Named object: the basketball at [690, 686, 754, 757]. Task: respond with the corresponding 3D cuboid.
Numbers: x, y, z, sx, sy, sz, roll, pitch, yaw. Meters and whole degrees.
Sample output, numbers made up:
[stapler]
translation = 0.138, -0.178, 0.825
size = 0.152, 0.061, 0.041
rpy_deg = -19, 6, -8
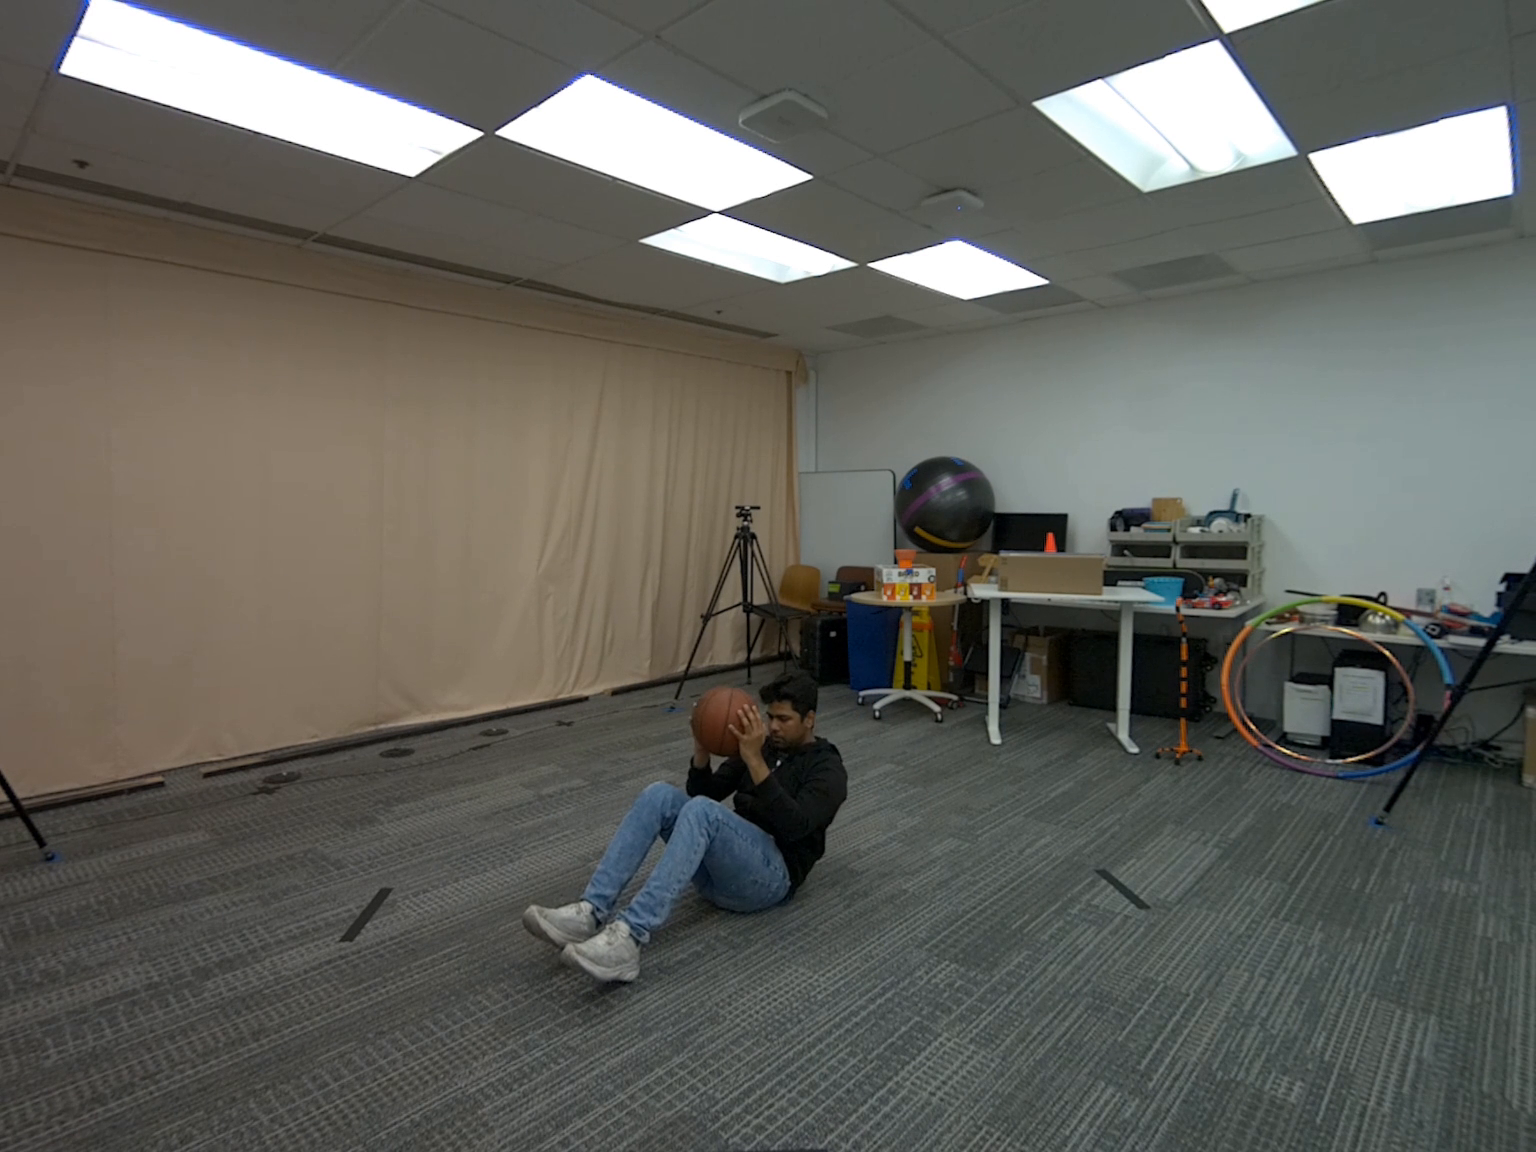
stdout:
[basketball]
translation = -0.131, 0.499, 2.905
size = 0.236, 0.235, 0.237
rpy_deg = 0, 4, -2
